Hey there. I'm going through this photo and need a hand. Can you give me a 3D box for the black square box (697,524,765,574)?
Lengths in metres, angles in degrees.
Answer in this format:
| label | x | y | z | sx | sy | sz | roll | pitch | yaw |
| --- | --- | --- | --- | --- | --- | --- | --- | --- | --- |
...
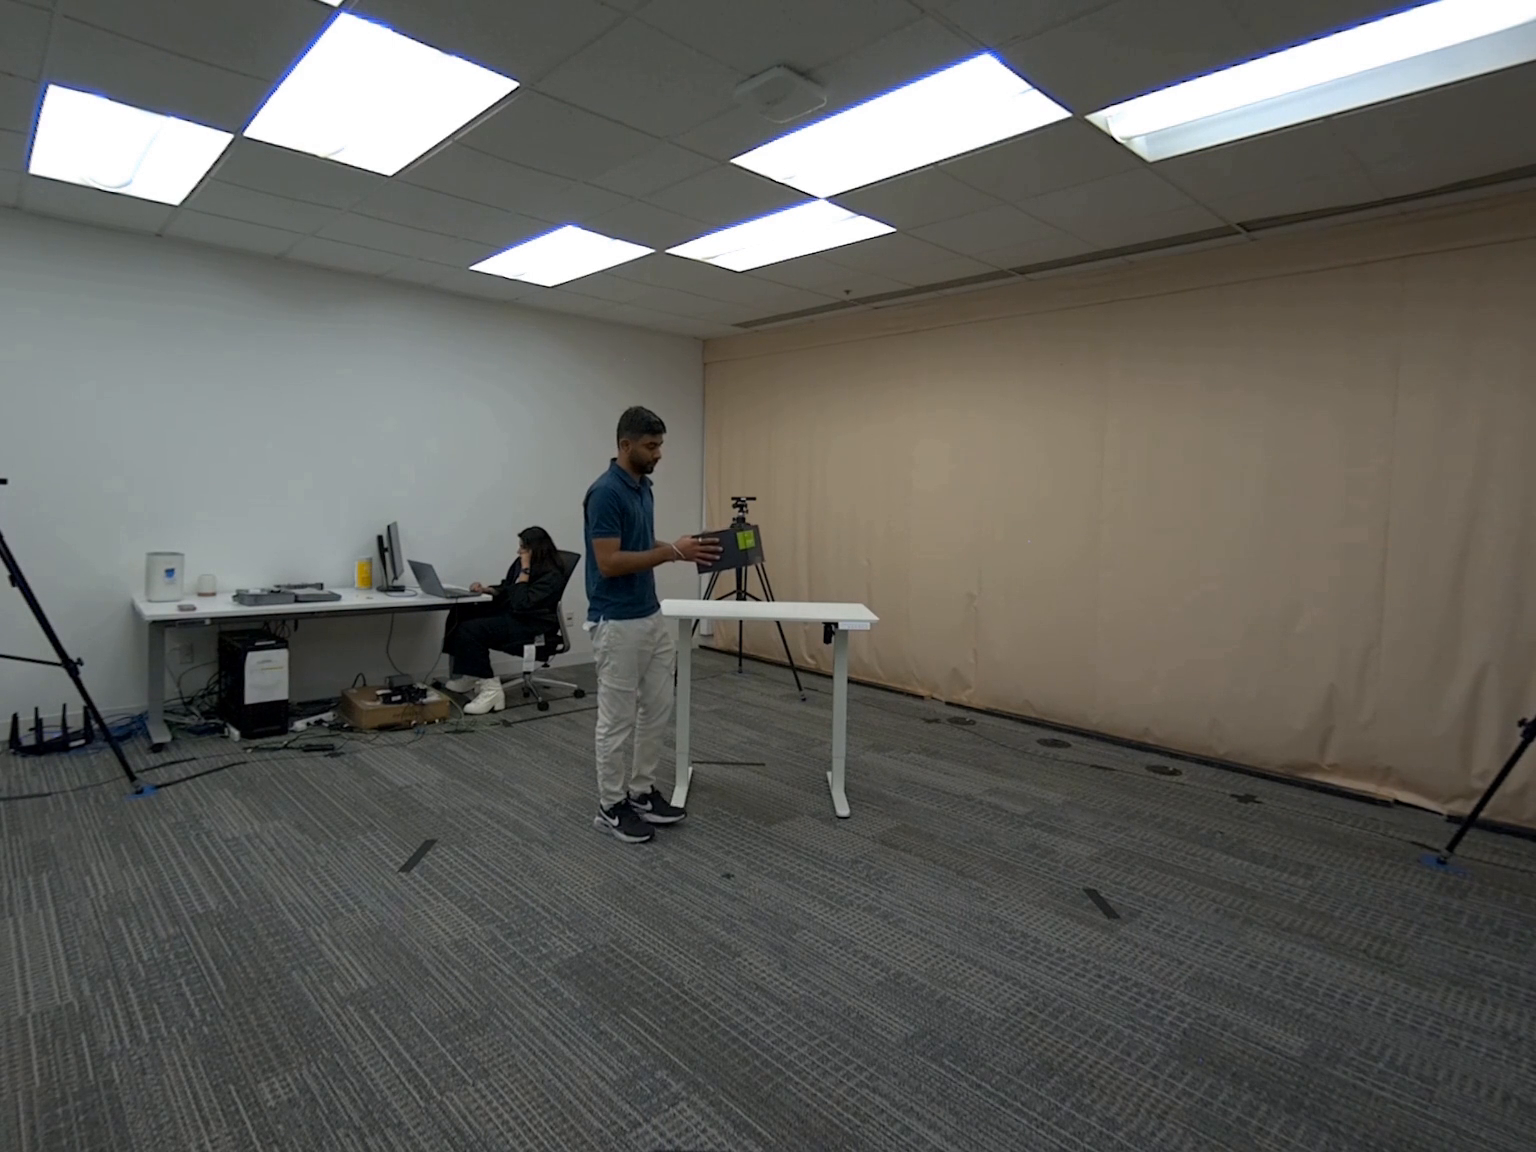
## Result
| label | x | y | z | sx | sy | sz | roll | pitch | yaw |
| --- | --- | --- | --- | --- | --- | --- | --- | --- | --- |
| black square box | -0.159 | -0.109 | 3.354 | 0.219 | 0.156 | 0.225 | -9 | 2 | 17 |
